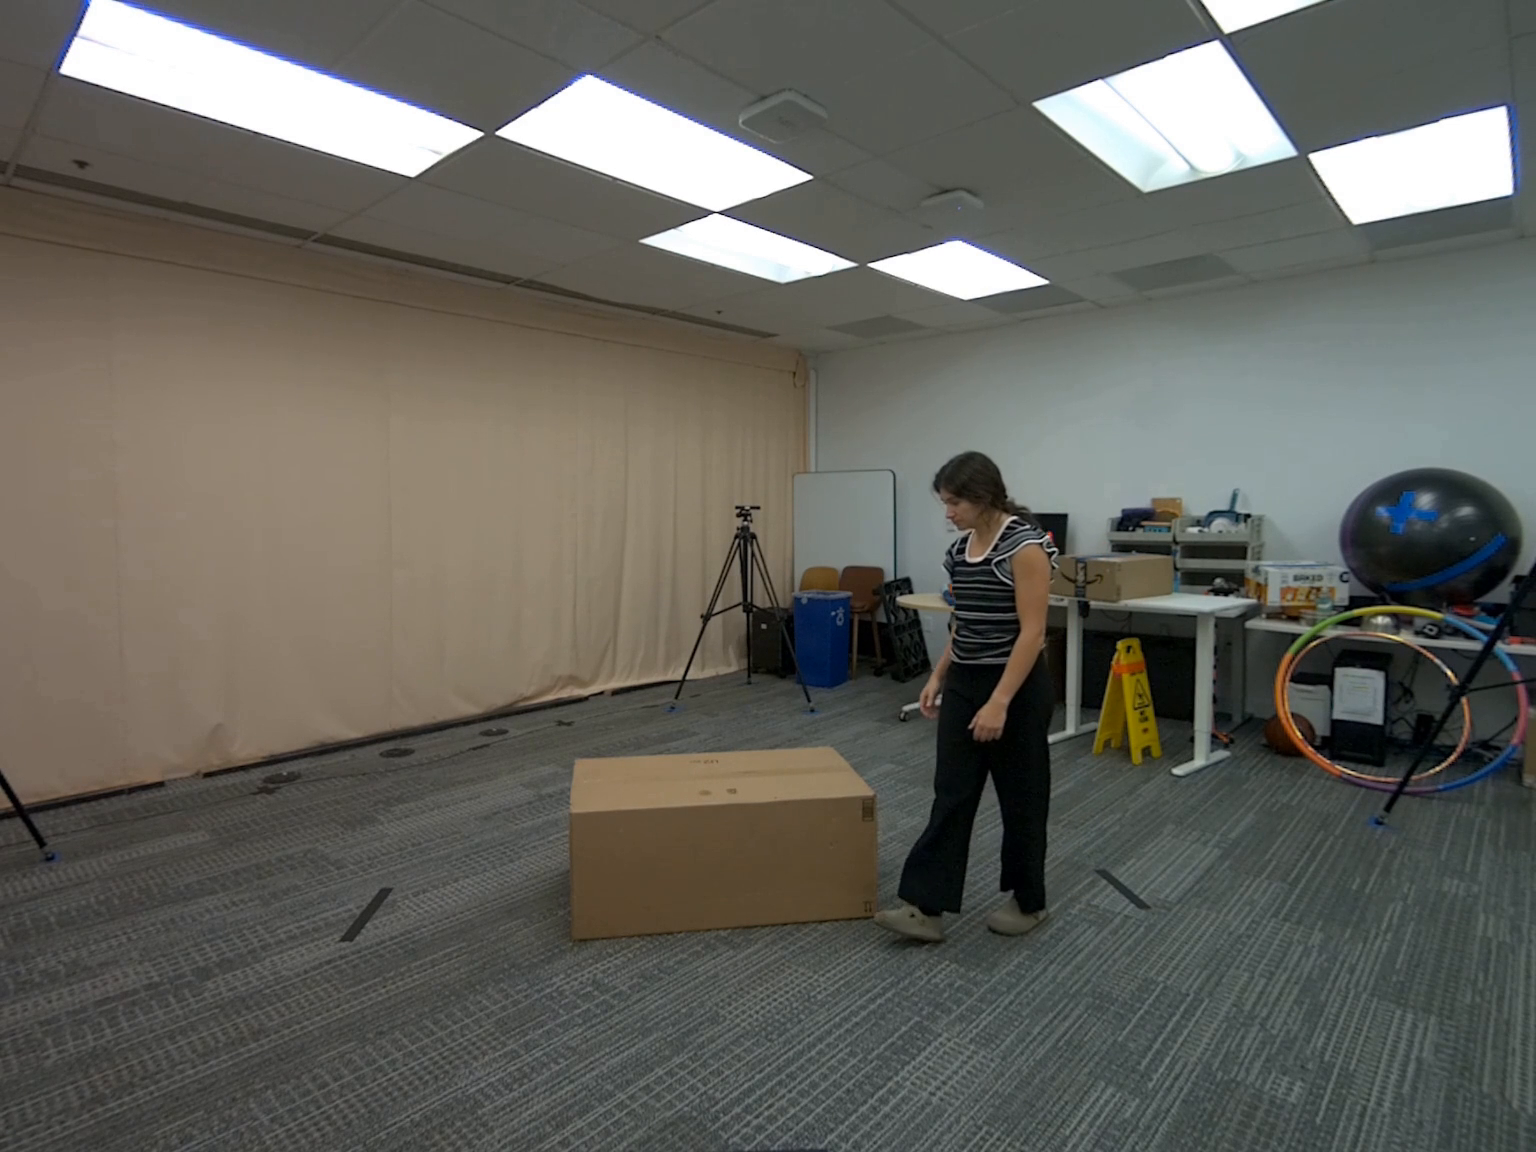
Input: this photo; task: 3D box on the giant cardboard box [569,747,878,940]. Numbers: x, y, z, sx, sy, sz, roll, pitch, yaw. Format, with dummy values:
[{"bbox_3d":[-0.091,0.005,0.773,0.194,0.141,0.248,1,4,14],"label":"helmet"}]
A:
[{"bbox_3d":[-0.188,0.928,3.042,1.017,0.425,0.584,-1,5,-9],"label":"giant cardboard box"}]
